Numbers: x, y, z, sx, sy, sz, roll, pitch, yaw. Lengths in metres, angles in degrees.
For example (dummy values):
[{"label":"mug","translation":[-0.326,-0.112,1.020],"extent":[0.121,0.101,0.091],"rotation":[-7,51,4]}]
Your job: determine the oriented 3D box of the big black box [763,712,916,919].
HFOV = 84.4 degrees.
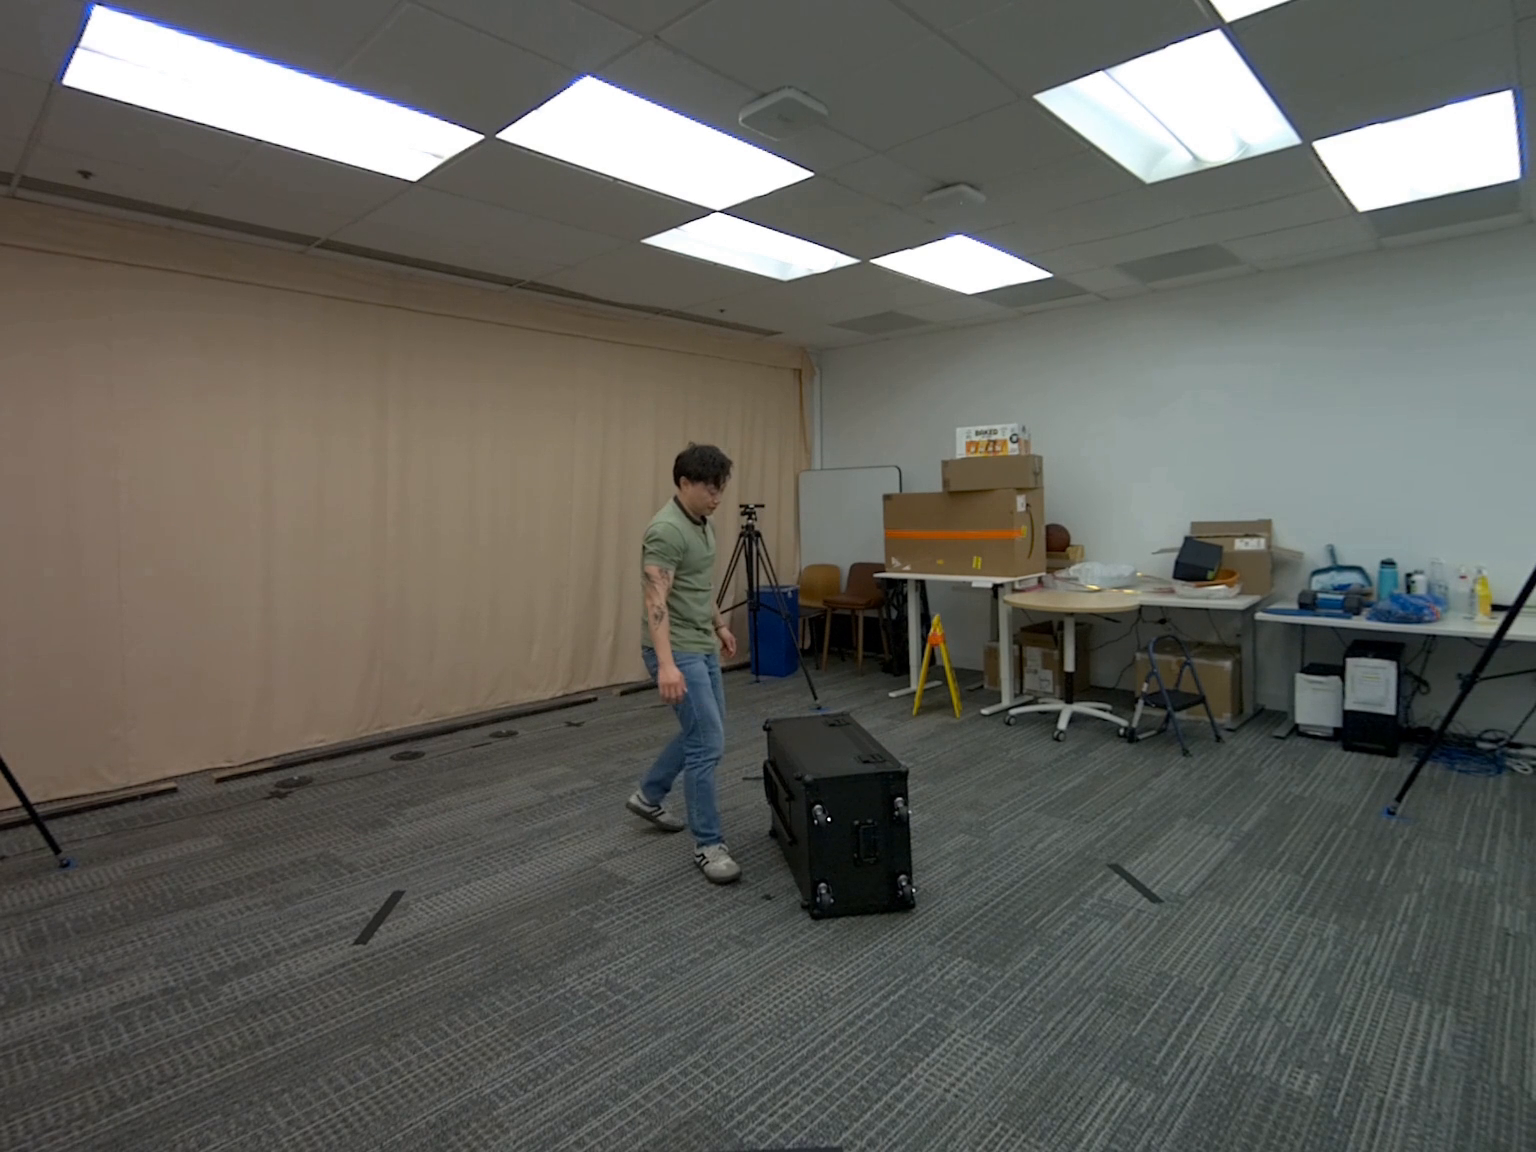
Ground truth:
[{"label":"big black box","translation":[0.238,0.861,3.166],"extent":[0.393,0.520,0.871],"rotation":[-4,5,-10]}]
